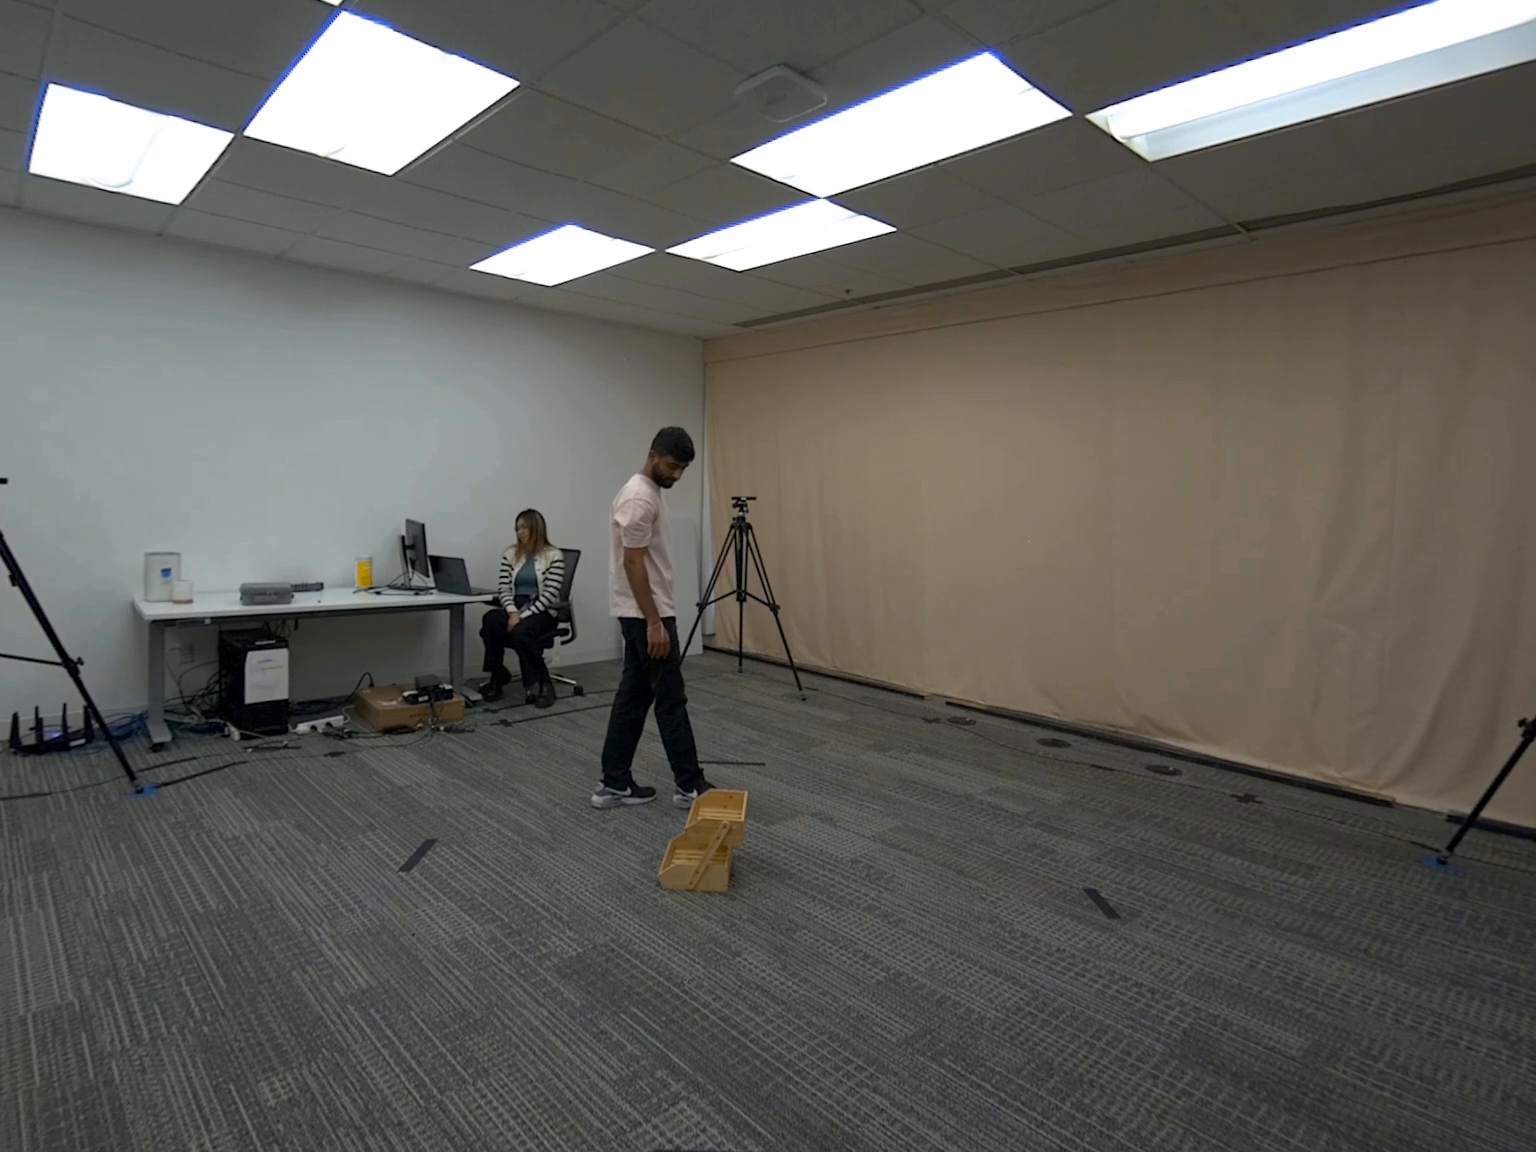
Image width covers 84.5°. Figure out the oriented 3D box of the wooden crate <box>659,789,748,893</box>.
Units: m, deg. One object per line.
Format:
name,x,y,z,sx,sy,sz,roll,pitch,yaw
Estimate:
wooden crate,-0.249,0.971,3.119,0.302,0.272,0.325,1,4,2
